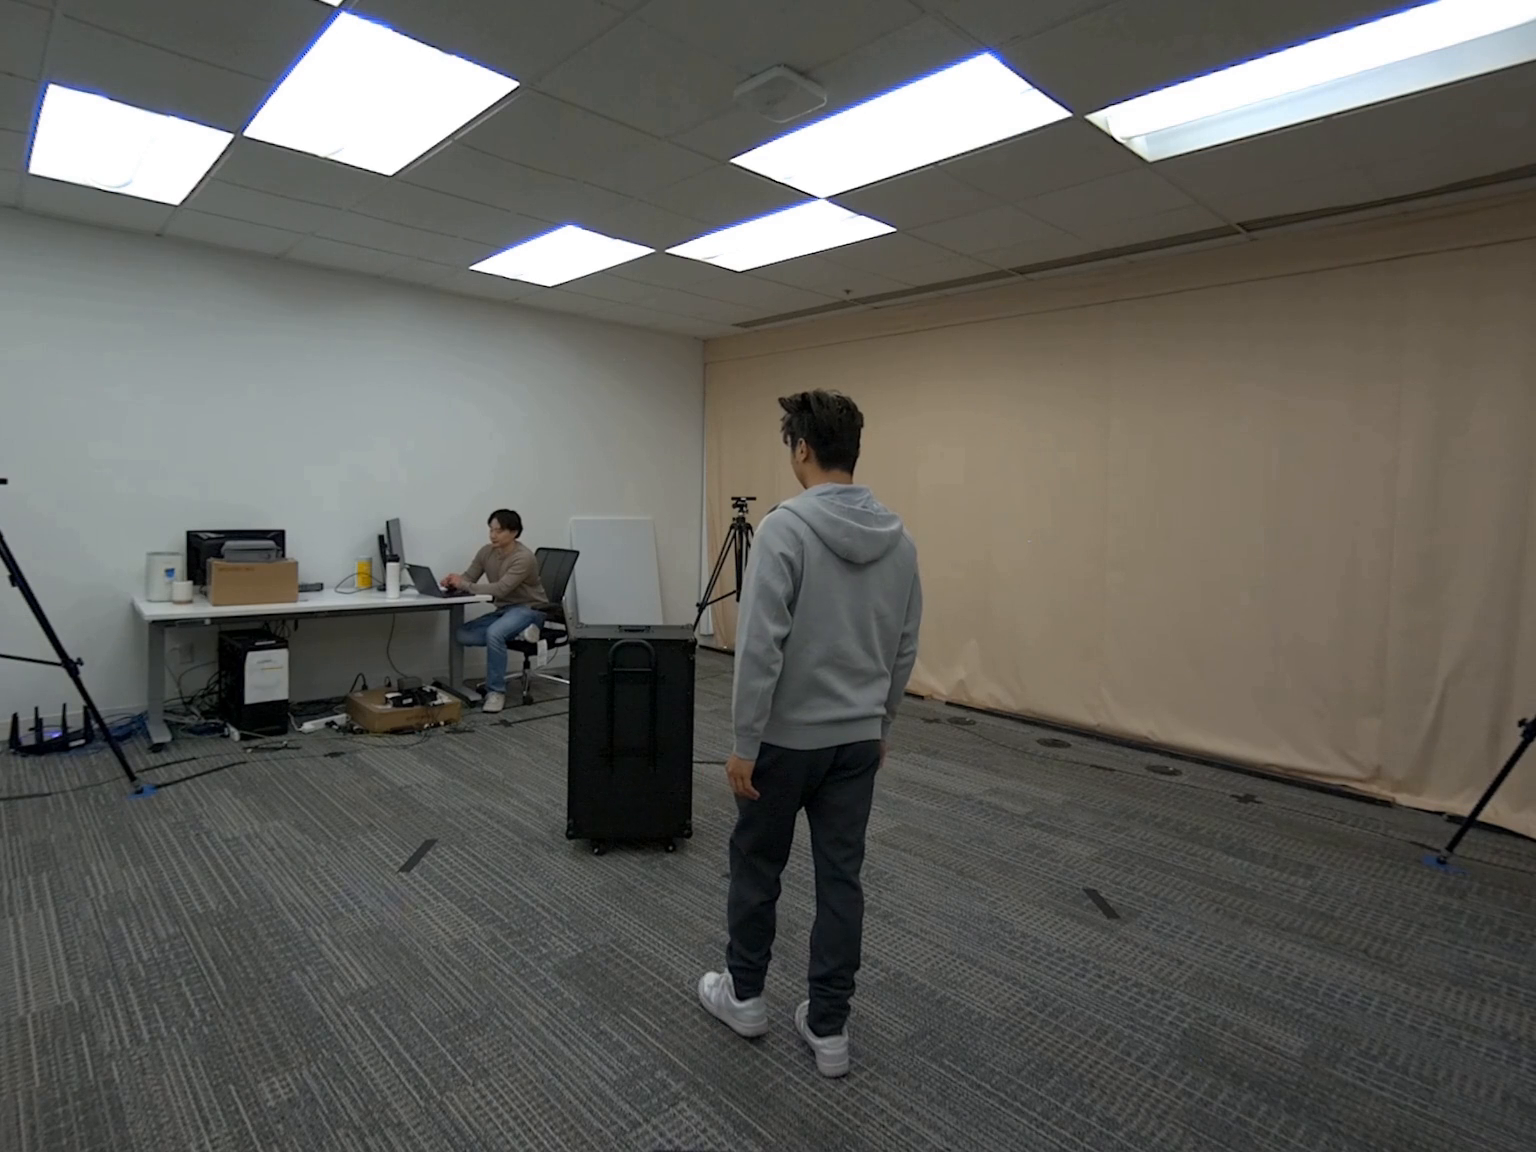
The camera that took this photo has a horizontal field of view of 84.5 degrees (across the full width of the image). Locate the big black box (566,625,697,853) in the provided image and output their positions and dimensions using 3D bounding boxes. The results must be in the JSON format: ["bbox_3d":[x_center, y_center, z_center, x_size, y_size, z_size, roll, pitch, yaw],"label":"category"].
[{"bbox_3d":[-0.552,0.646,3.397,0.518,0.859,0.399,2,3,-7],"label":"big black box"}]
